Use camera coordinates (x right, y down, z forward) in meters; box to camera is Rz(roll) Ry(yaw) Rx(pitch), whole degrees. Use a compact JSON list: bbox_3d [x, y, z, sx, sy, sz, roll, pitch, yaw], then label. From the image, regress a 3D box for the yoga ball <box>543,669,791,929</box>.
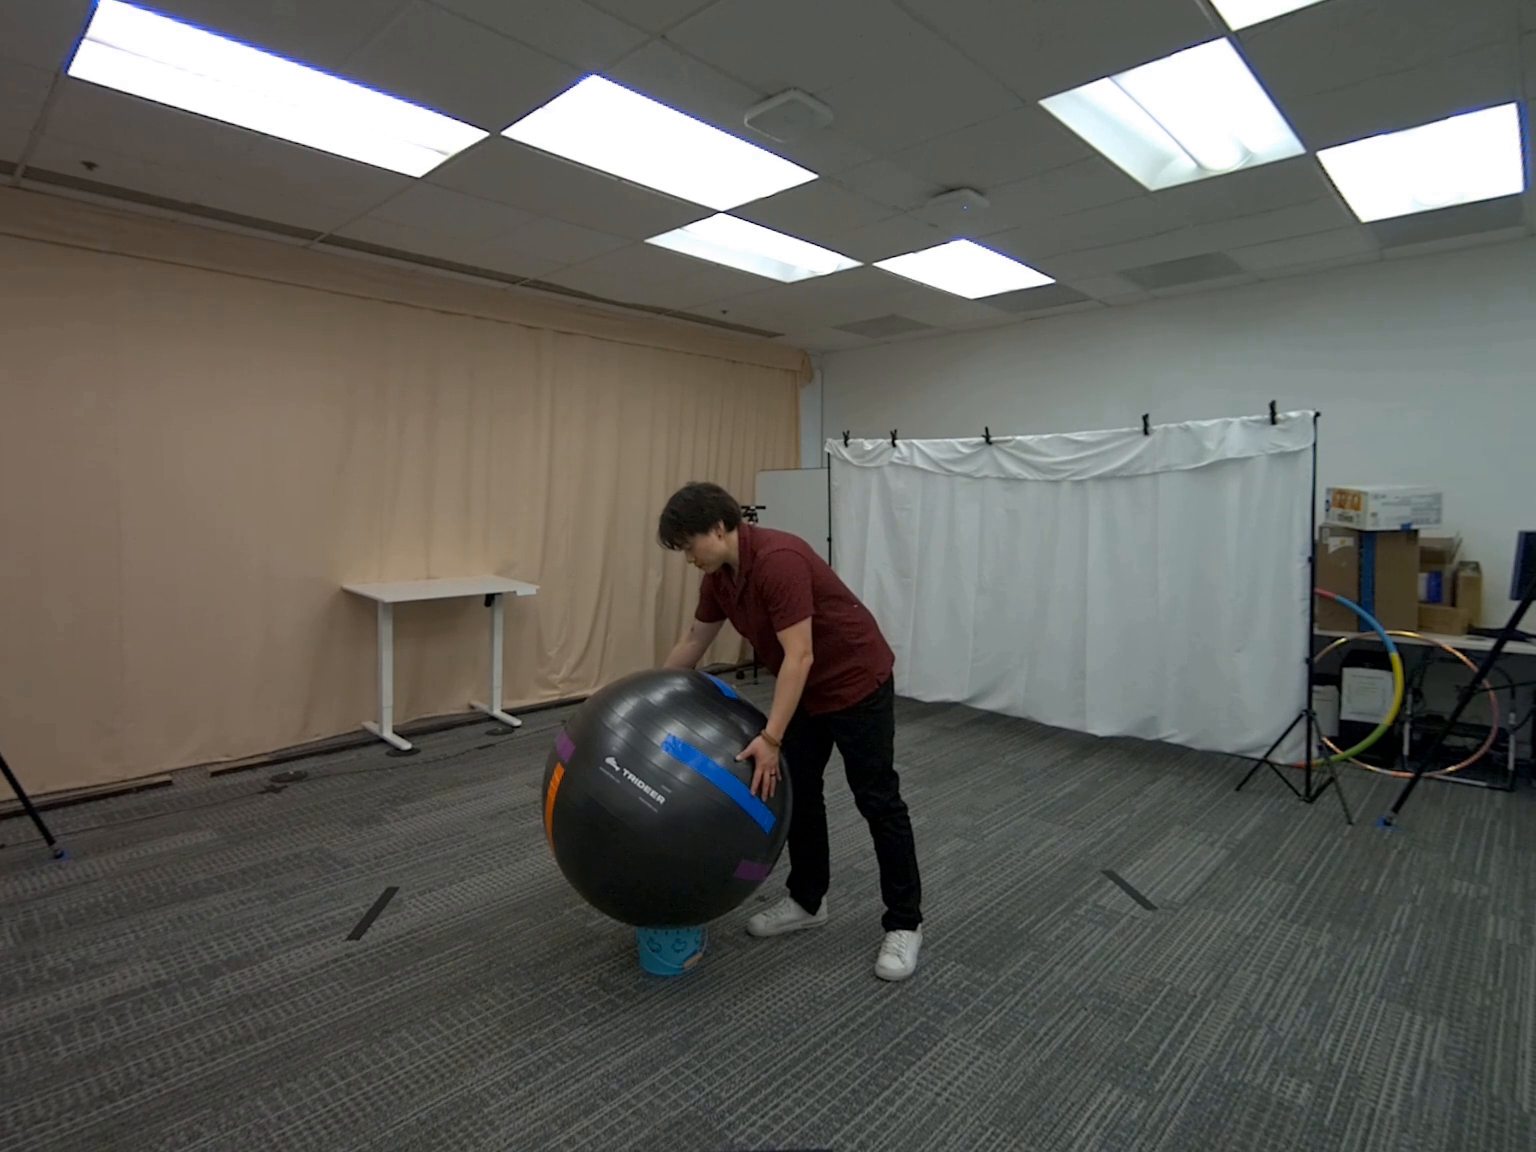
[{"bbox_3d":[-0.309,0.670,2.563,0.757,0.756,0.760,0,4,-2],"label":"yoga ball"}]
